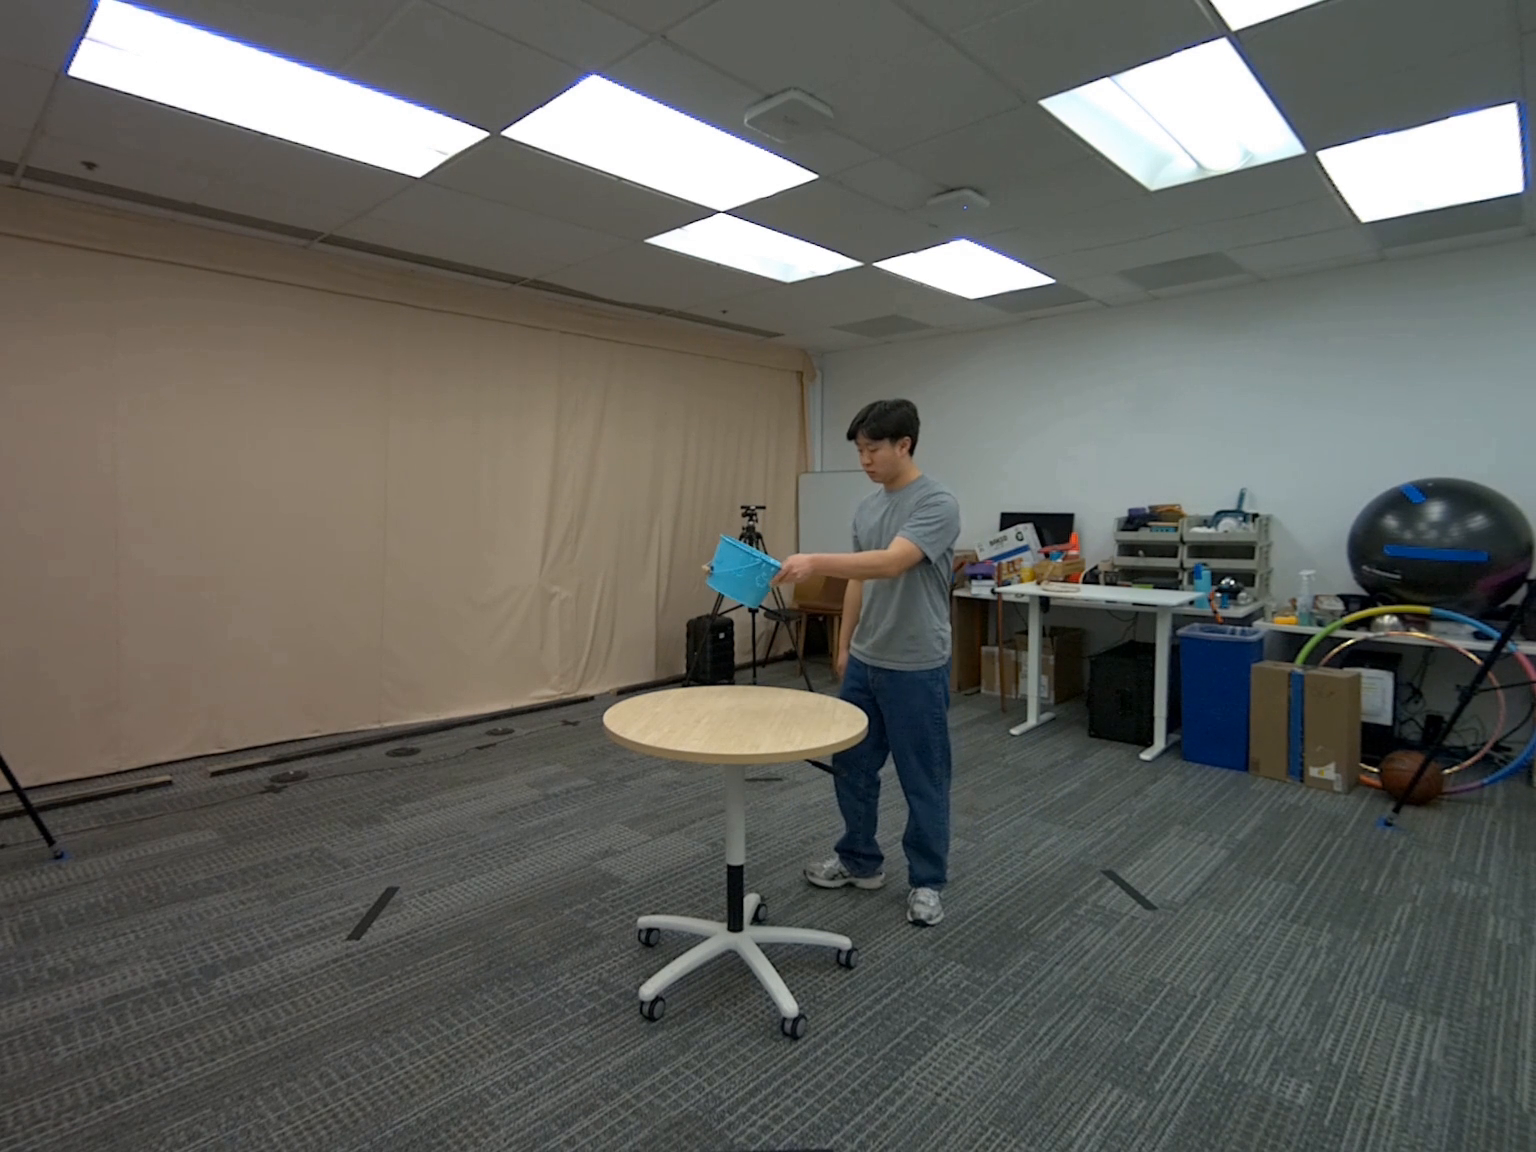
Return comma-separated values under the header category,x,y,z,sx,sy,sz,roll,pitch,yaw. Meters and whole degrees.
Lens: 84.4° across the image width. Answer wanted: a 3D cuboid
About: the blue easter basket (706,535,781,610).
category,x,y,z,sx,sy,sz,roll,pitch,yaw
blue easter basket,-0.070,-0.005,2.593,0.242,0.156,0.245,26,6,-5
